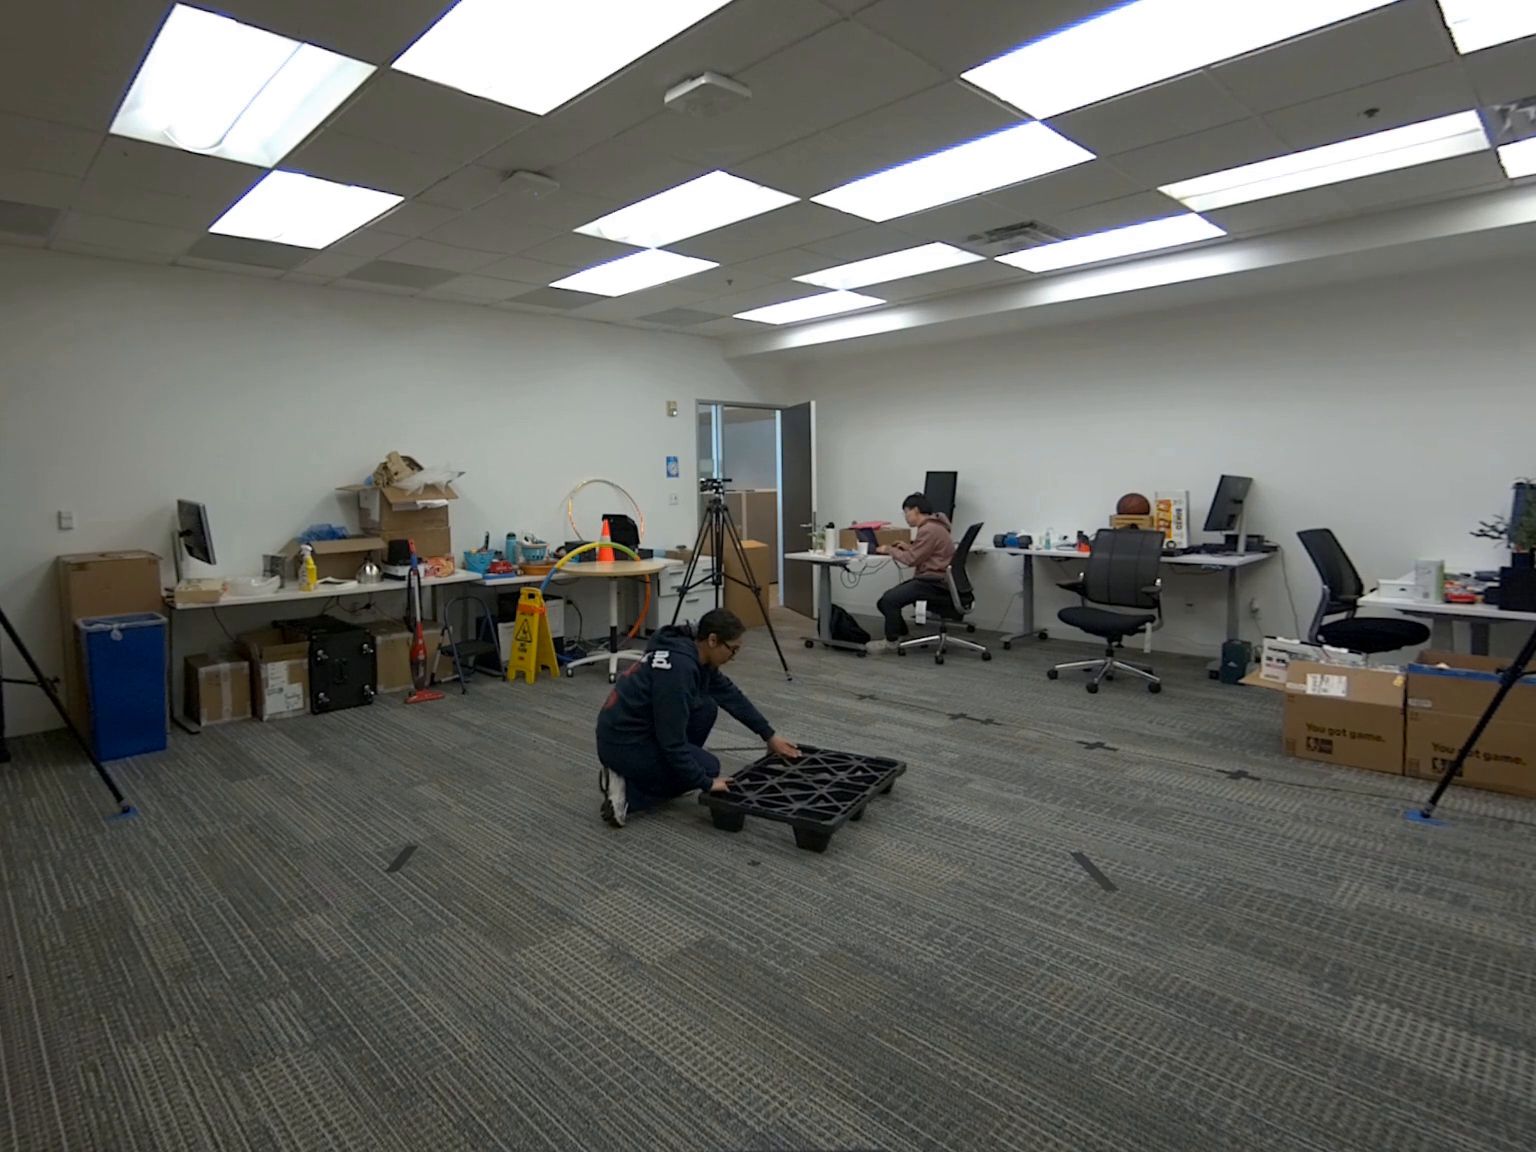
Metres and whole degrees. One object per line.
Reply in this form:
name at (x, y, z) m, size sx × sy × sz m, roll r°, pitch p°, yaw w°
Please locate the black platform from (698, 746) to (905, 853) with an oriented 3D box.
black platform at (0.161, 0.912, 3.600) m, size 0.621 × 0.143 × 0.788 m, roll 2°, pitch 7°, yaw 30°
